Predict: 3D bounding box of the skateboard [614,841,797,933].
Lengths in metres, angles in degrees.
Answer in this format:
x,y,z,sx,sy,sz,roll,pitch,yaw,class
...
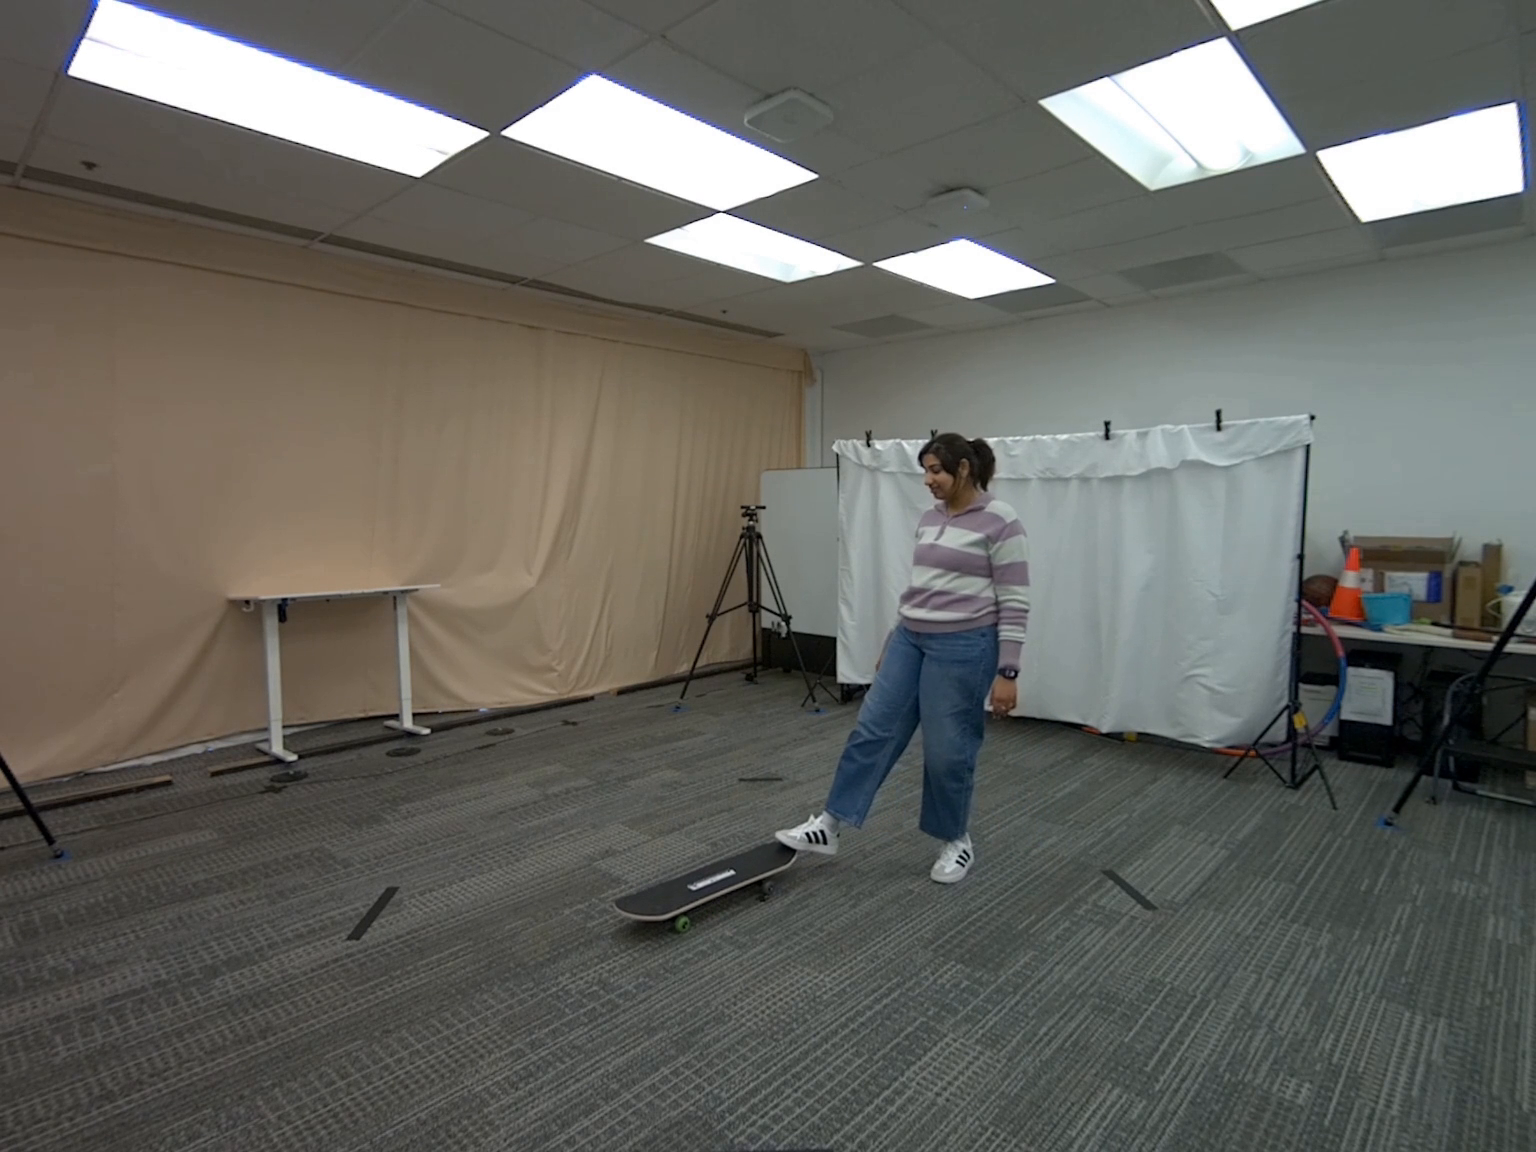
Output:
x,y,z,sx,sy,sz,roll,pitch,yaw,class
-0.196,1.096,2.936,0.761,0.110,0.200,-4,5,-43,skateboard
